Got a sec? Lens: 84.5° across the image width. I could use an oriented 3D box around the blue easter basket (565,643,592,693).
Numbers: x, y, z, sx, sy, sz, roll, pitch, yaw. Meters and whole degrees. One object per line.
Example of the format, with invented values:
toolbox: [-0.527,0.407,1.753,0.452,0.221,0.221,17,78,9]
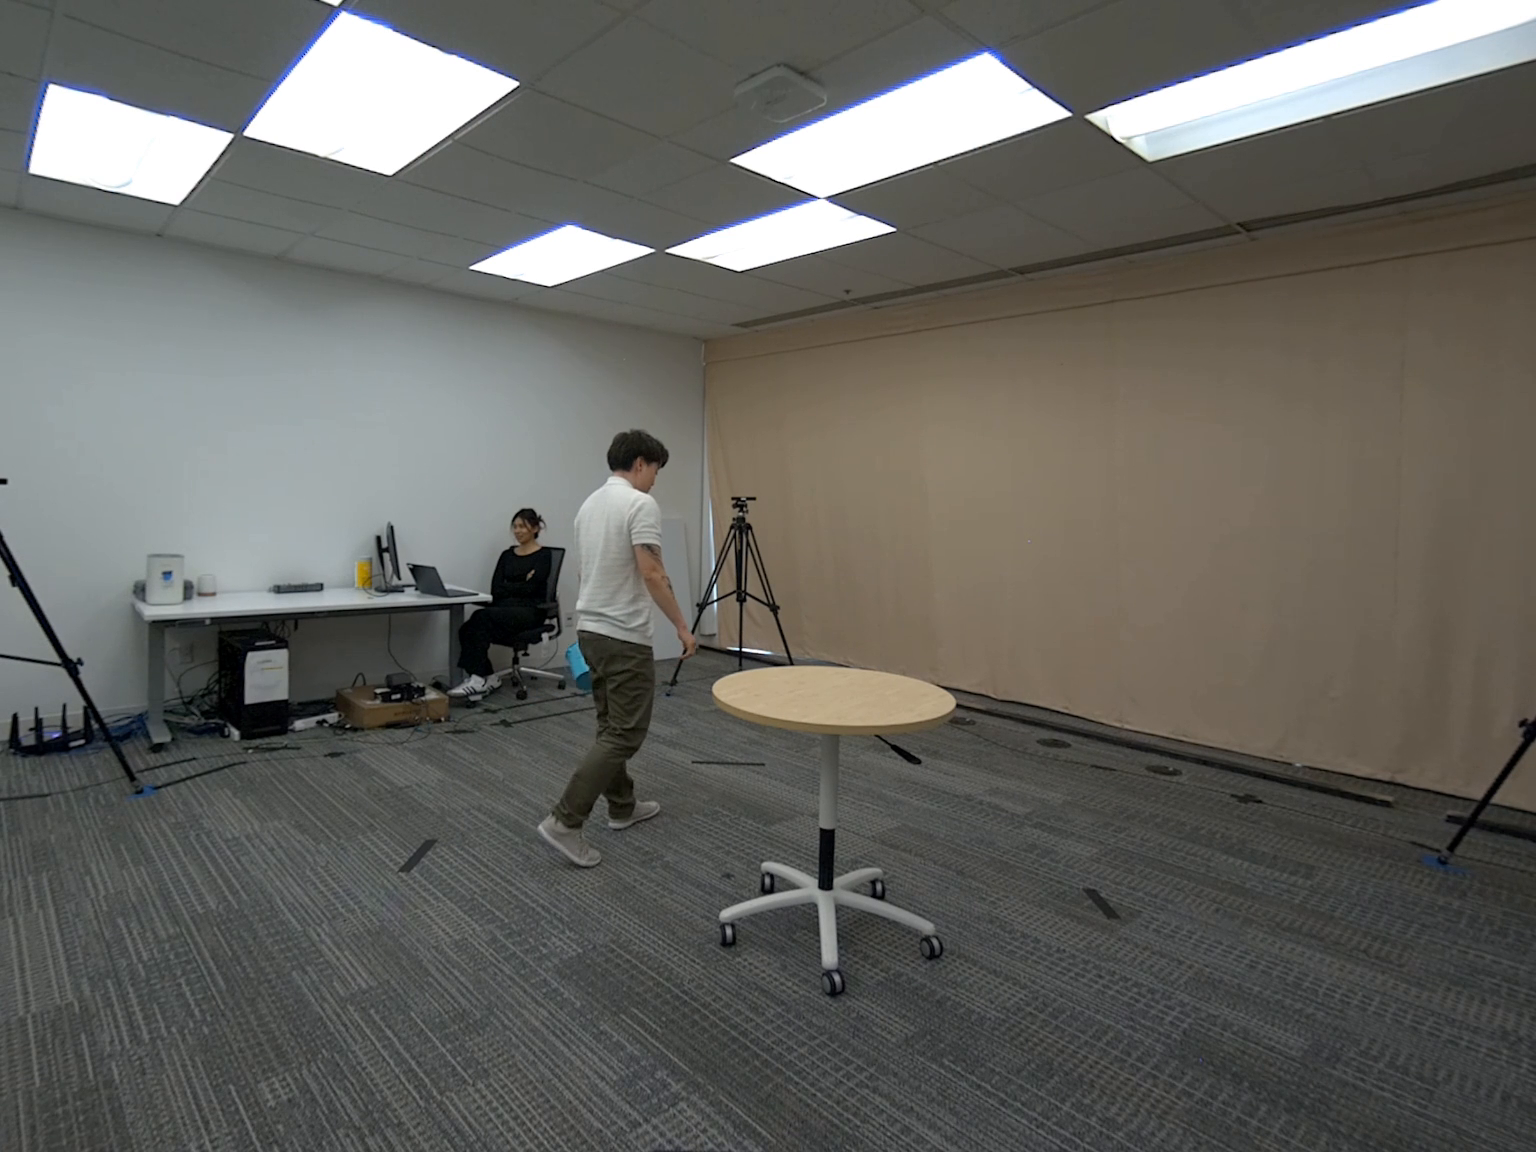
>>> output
blue easter basket: [-0.792,0.401,3.766,0.242,0.160,0.238,-10,-37,-9]
